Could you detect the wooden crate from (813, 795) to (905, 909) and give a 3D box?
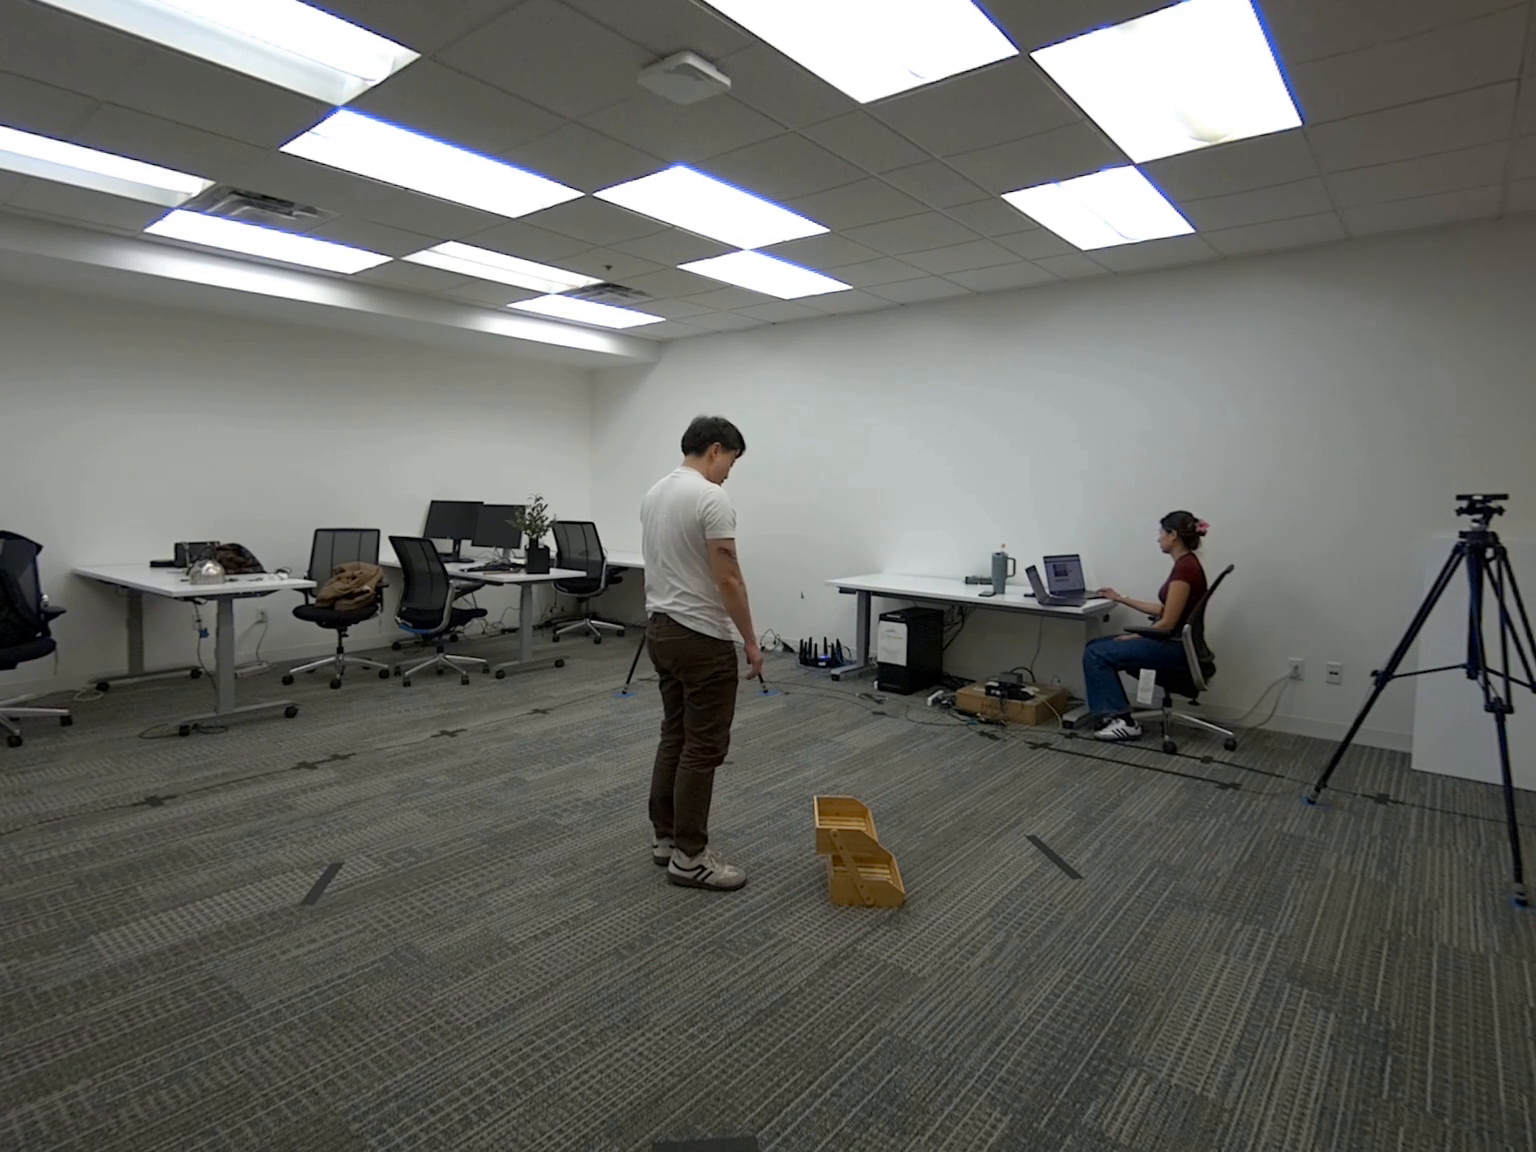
[{"bbox_3d":[0.312,0.957,2.991,0.303,0.272,0.324,1,4,3],"label":"wooden crate"}]
